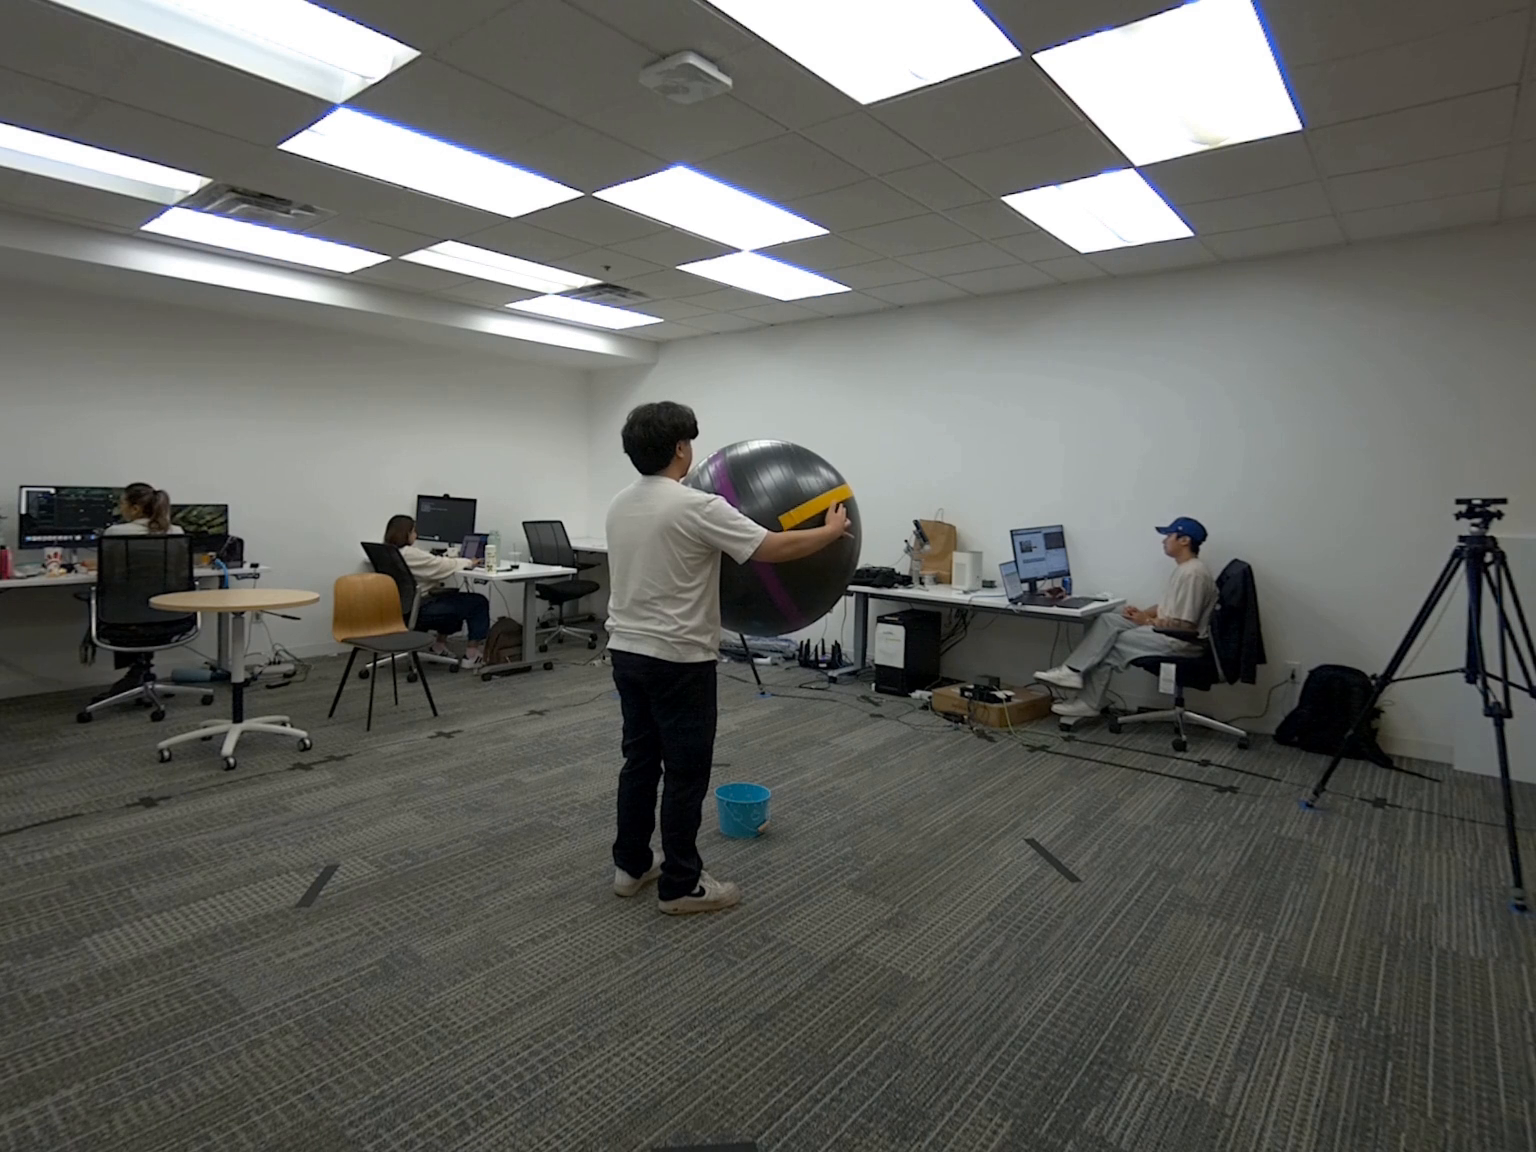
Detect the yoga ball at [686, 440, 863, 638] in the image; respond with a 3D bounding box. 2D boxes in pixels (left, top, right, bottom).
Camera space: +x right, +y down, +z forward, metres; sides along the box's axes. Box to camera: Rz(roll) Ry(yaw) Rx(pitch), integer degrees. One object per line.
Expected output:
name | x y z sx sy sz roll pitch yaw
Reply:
yoga ball | -0.021 -0.140 3.280 0.757 0.755 0.762 1 4 -2
